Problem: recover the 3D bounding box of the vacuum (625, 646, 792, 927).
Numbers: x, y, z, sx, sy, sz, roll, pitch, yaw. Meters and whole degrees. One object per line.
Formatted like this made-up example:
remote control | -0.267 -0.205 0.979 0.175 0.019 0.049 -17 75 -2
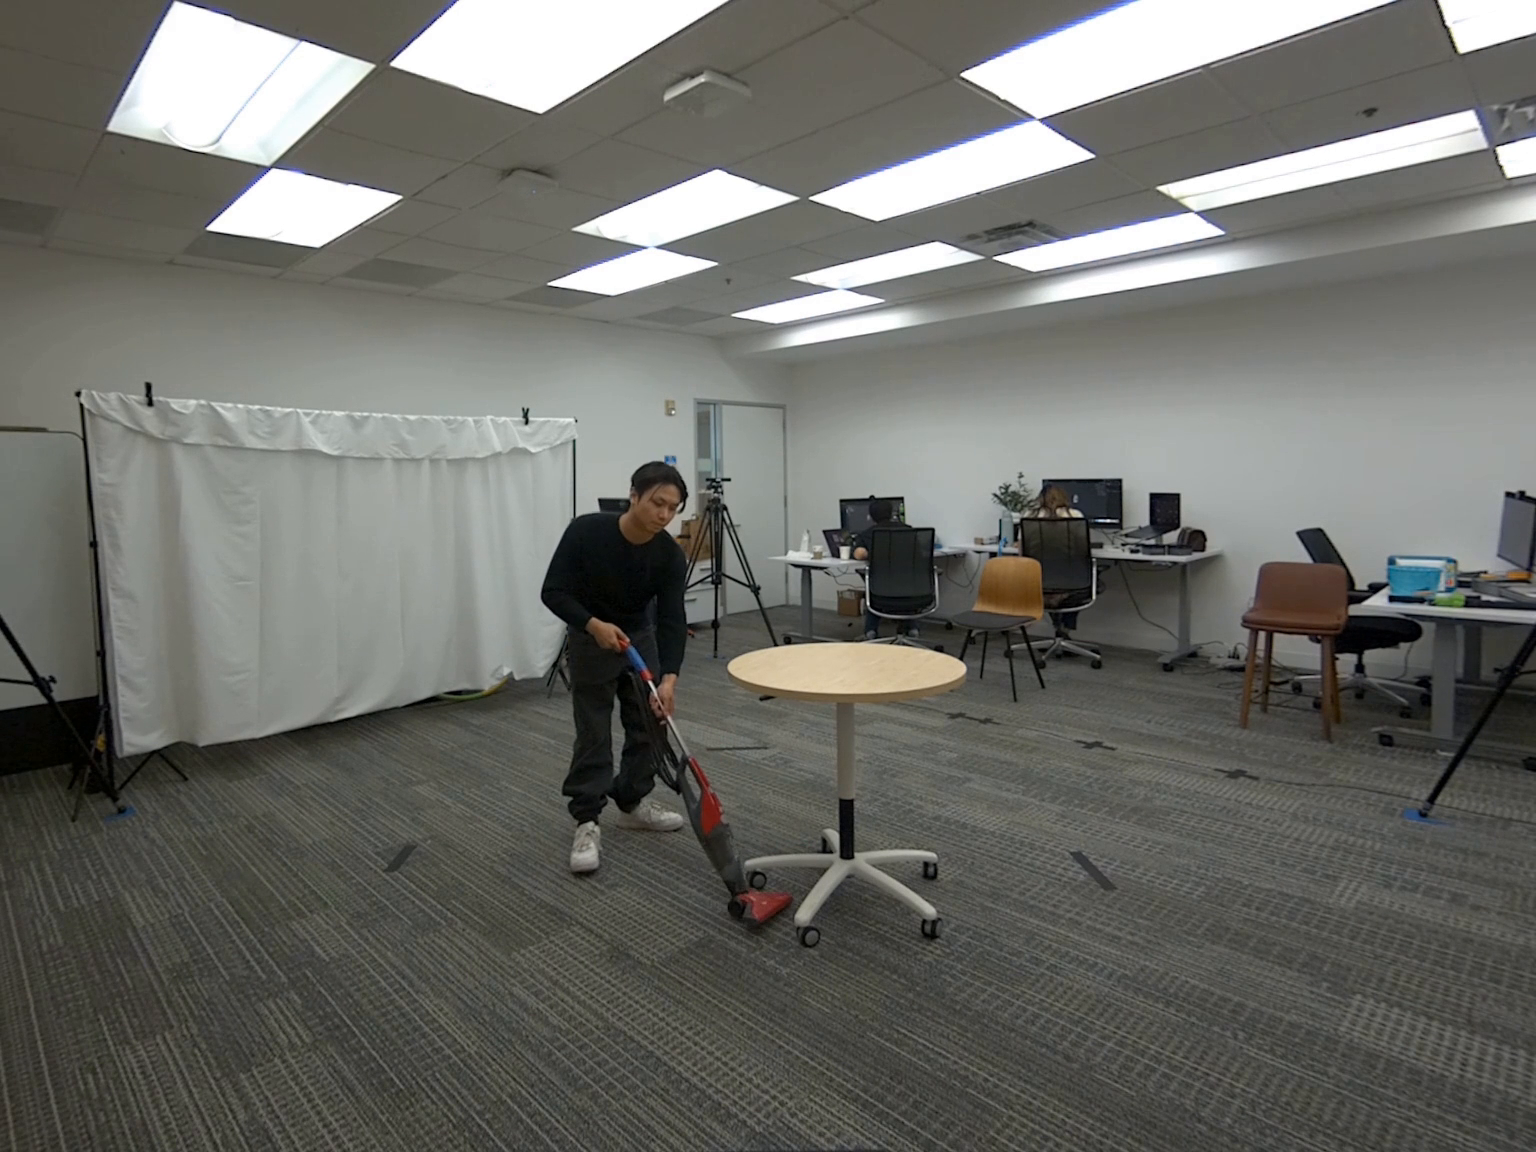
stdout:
vacuum | -0.299 0.645 2.912 0.144 1.076 0.245 -41 -21 21
